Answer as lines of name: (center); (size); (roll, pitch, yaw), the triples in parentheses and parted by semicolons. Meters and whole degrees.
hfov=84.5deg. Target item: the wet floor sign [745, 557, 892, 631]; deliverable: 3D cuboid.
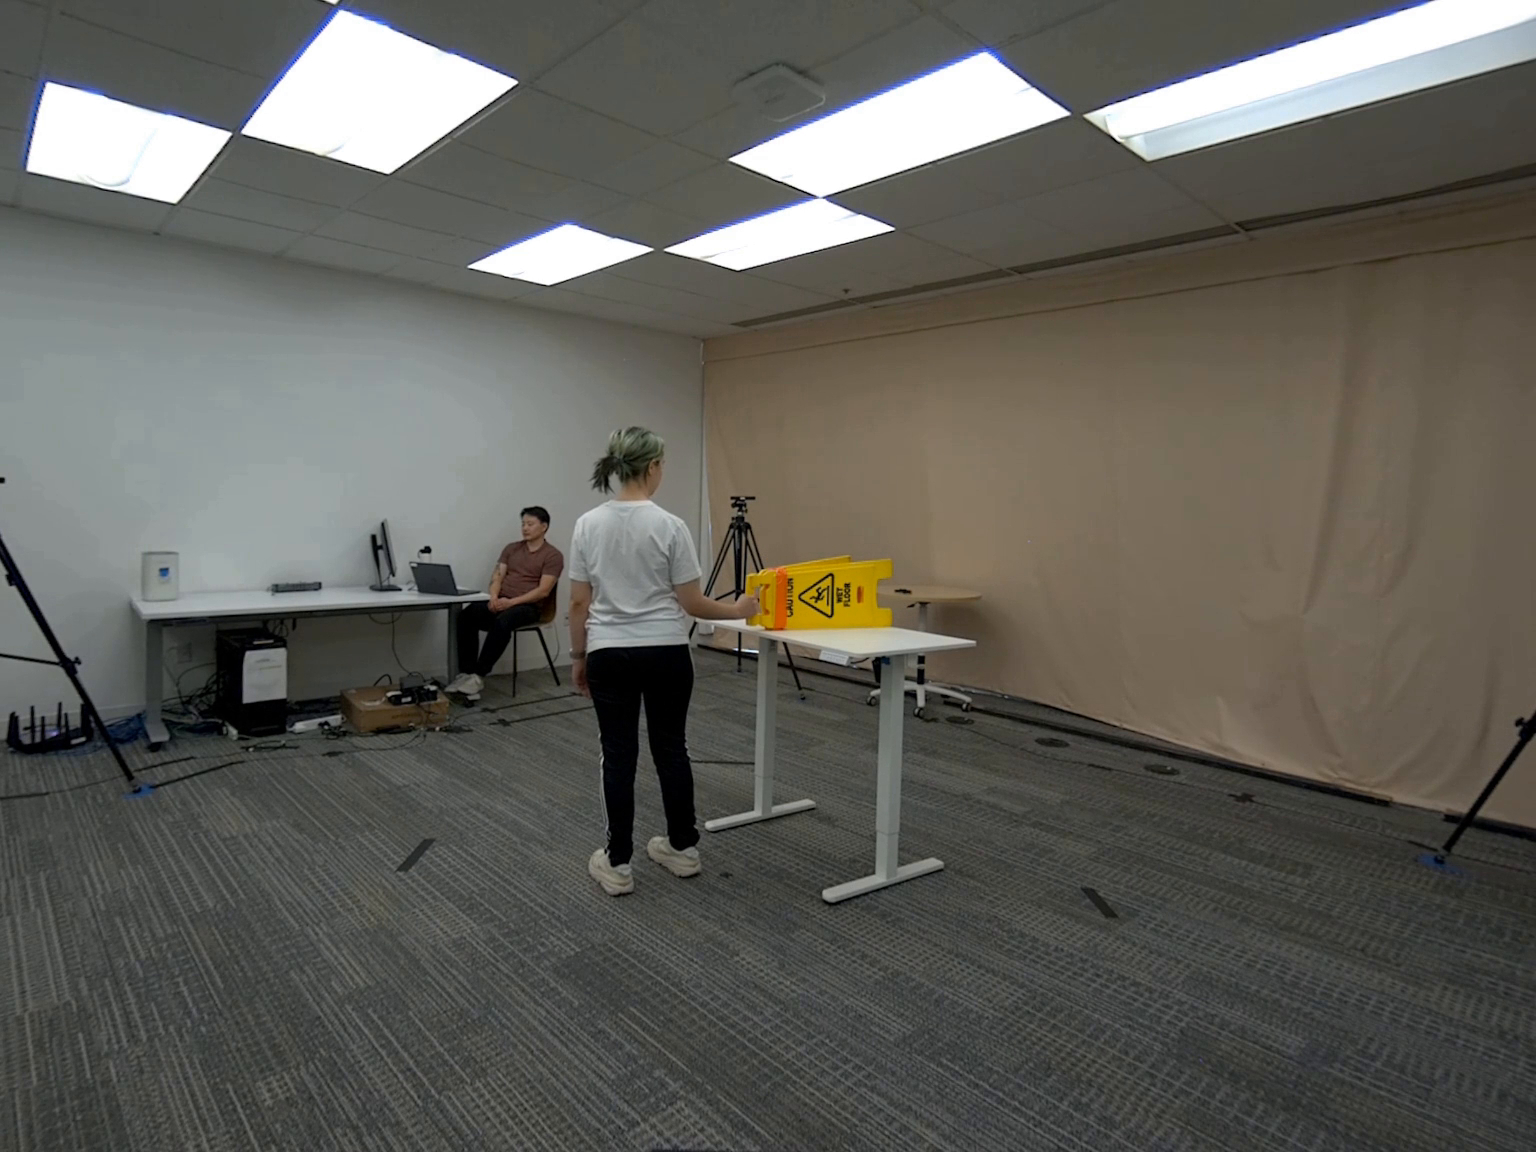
wet floor sign: (0.169, 0.080, 3.376); (0.632, 0.281, 0.297); (-4, 6, -36)
